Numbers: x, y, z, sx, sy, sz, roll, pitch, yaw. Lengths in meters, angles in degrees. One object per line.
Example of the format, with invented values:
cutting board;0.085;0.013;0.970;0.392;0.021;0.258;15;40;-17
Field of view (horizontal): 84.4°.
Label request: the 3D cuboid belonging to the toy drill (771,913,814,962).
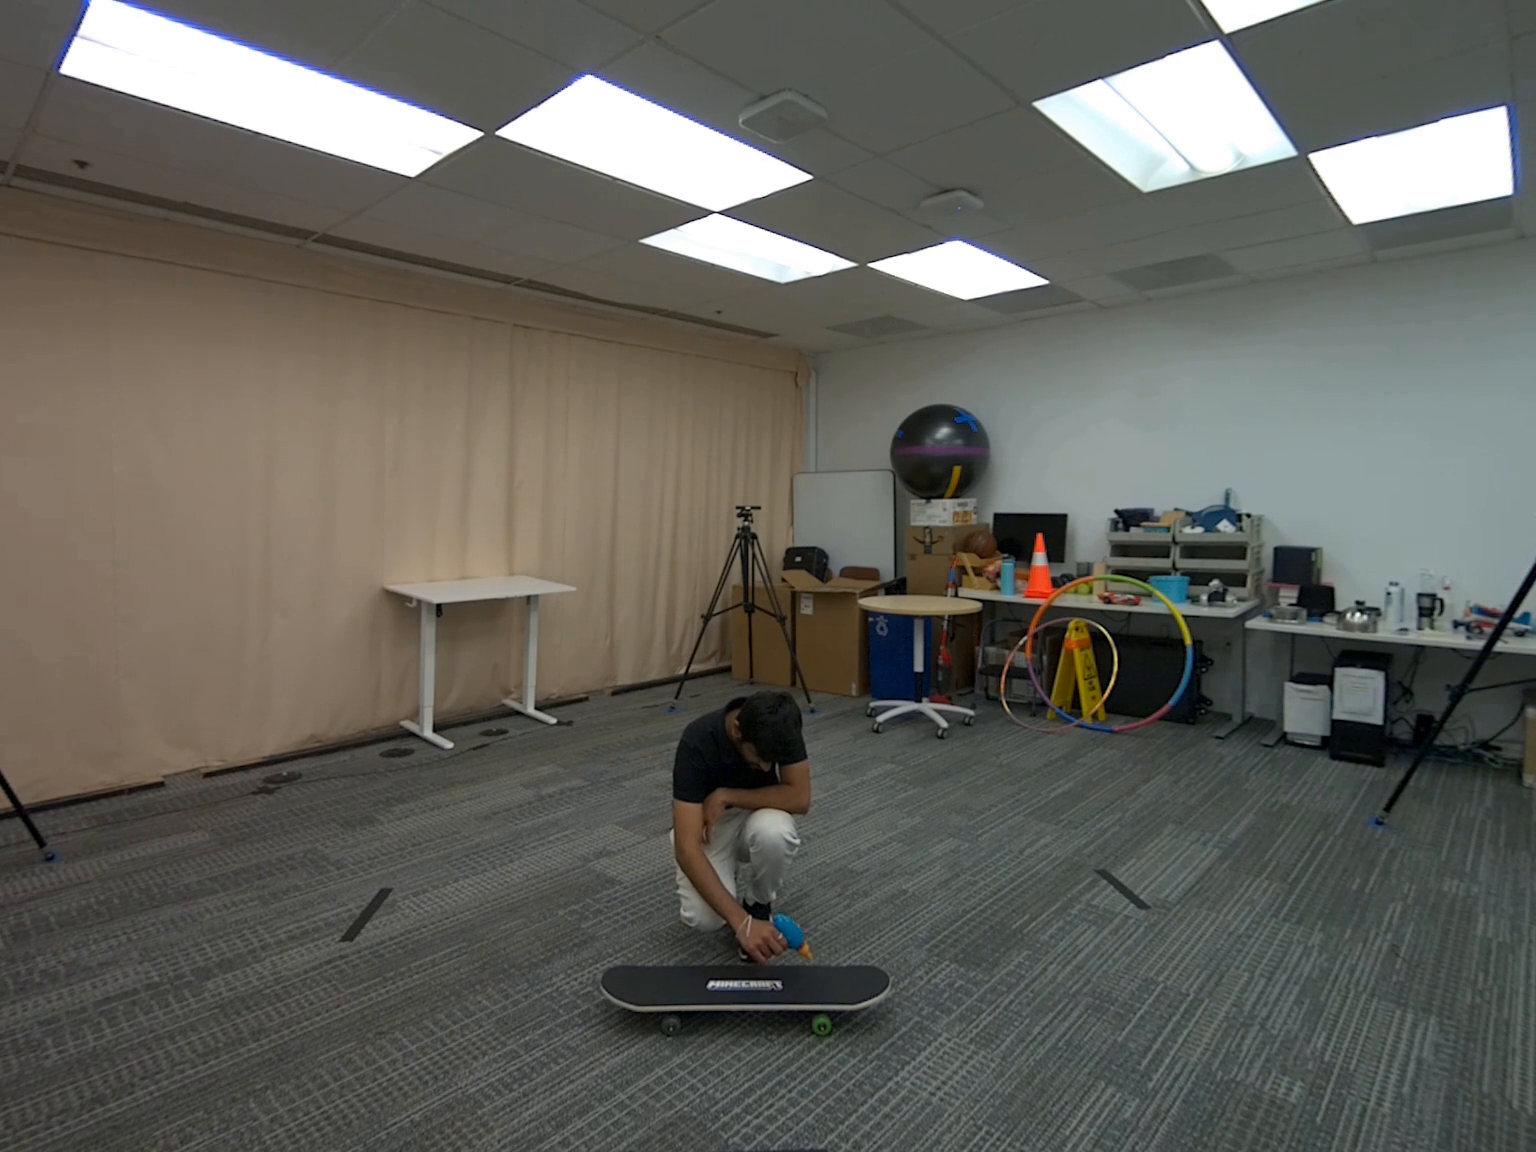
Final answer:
toy drill;0.030;1.009;2.301;0.146;0.170;0.061;-27;0;-3
